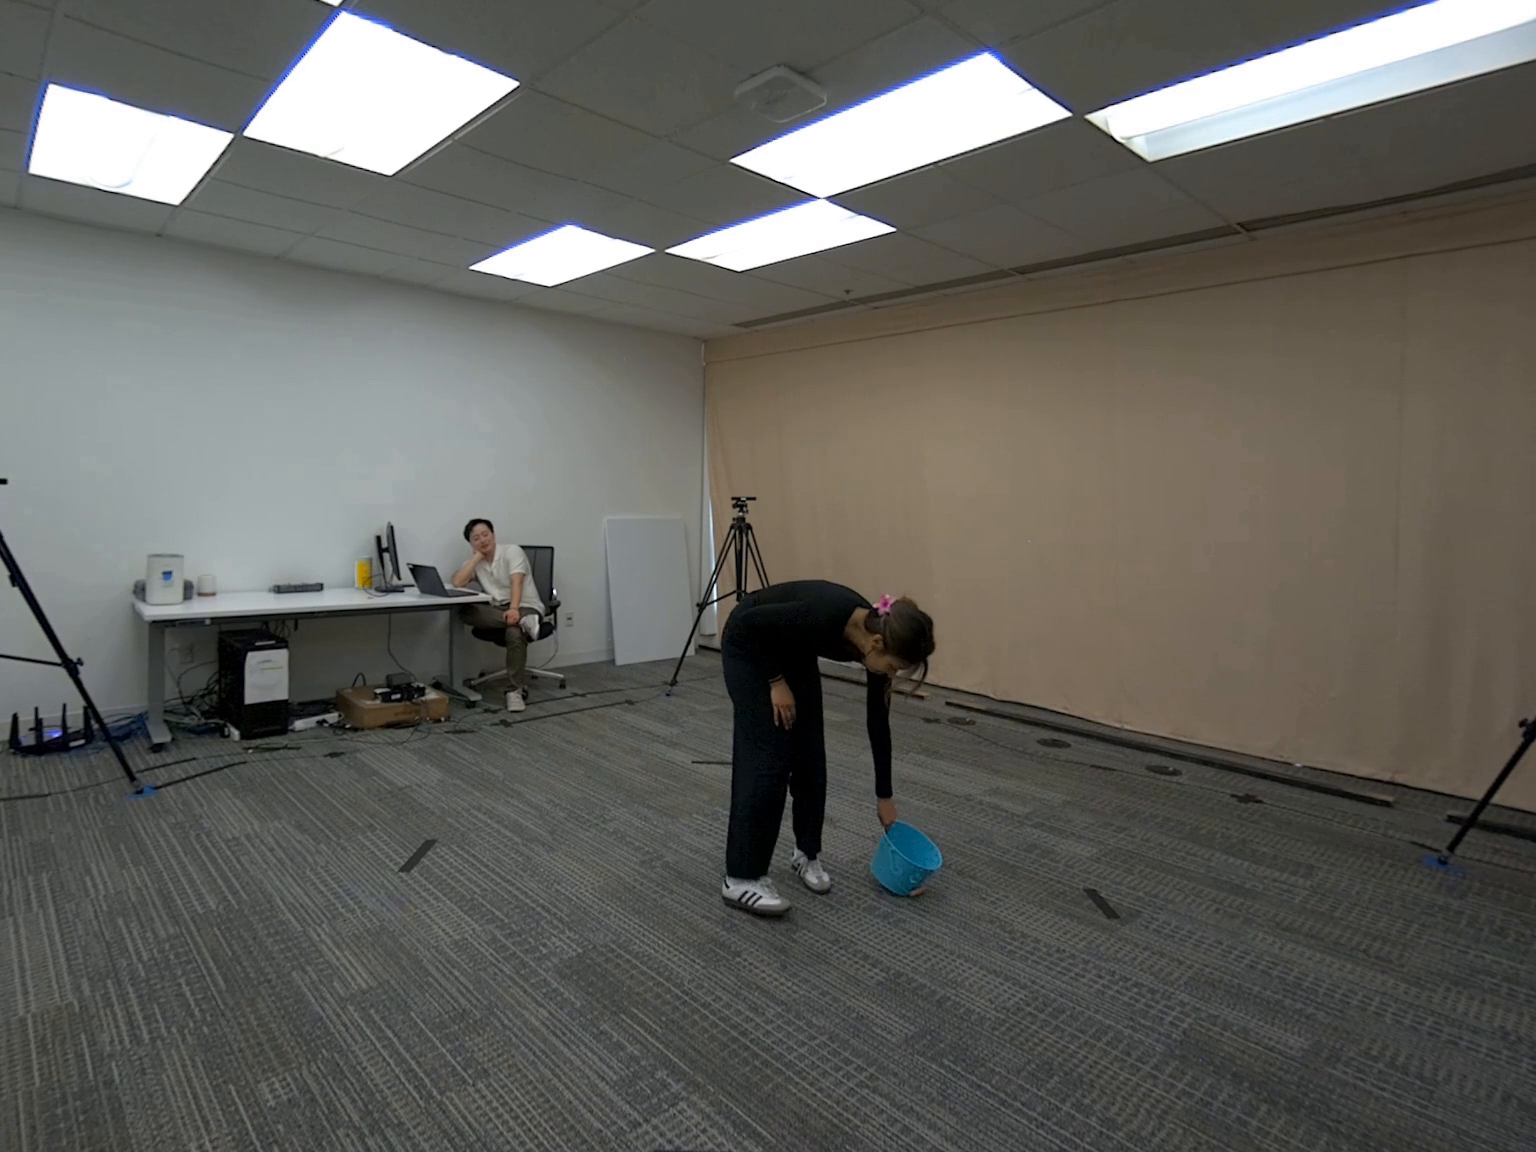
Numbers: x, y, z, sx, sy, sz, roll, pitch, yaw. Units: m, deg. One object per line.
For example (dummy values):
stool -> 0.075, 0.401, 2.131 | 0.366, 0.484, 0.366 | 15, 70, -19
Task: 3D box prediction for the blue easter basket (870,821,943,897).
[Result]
blue easter basket -> 0.473, 1.023, 3.019 | 0.241, 0.155, 0.247 | 23, 17, -9
